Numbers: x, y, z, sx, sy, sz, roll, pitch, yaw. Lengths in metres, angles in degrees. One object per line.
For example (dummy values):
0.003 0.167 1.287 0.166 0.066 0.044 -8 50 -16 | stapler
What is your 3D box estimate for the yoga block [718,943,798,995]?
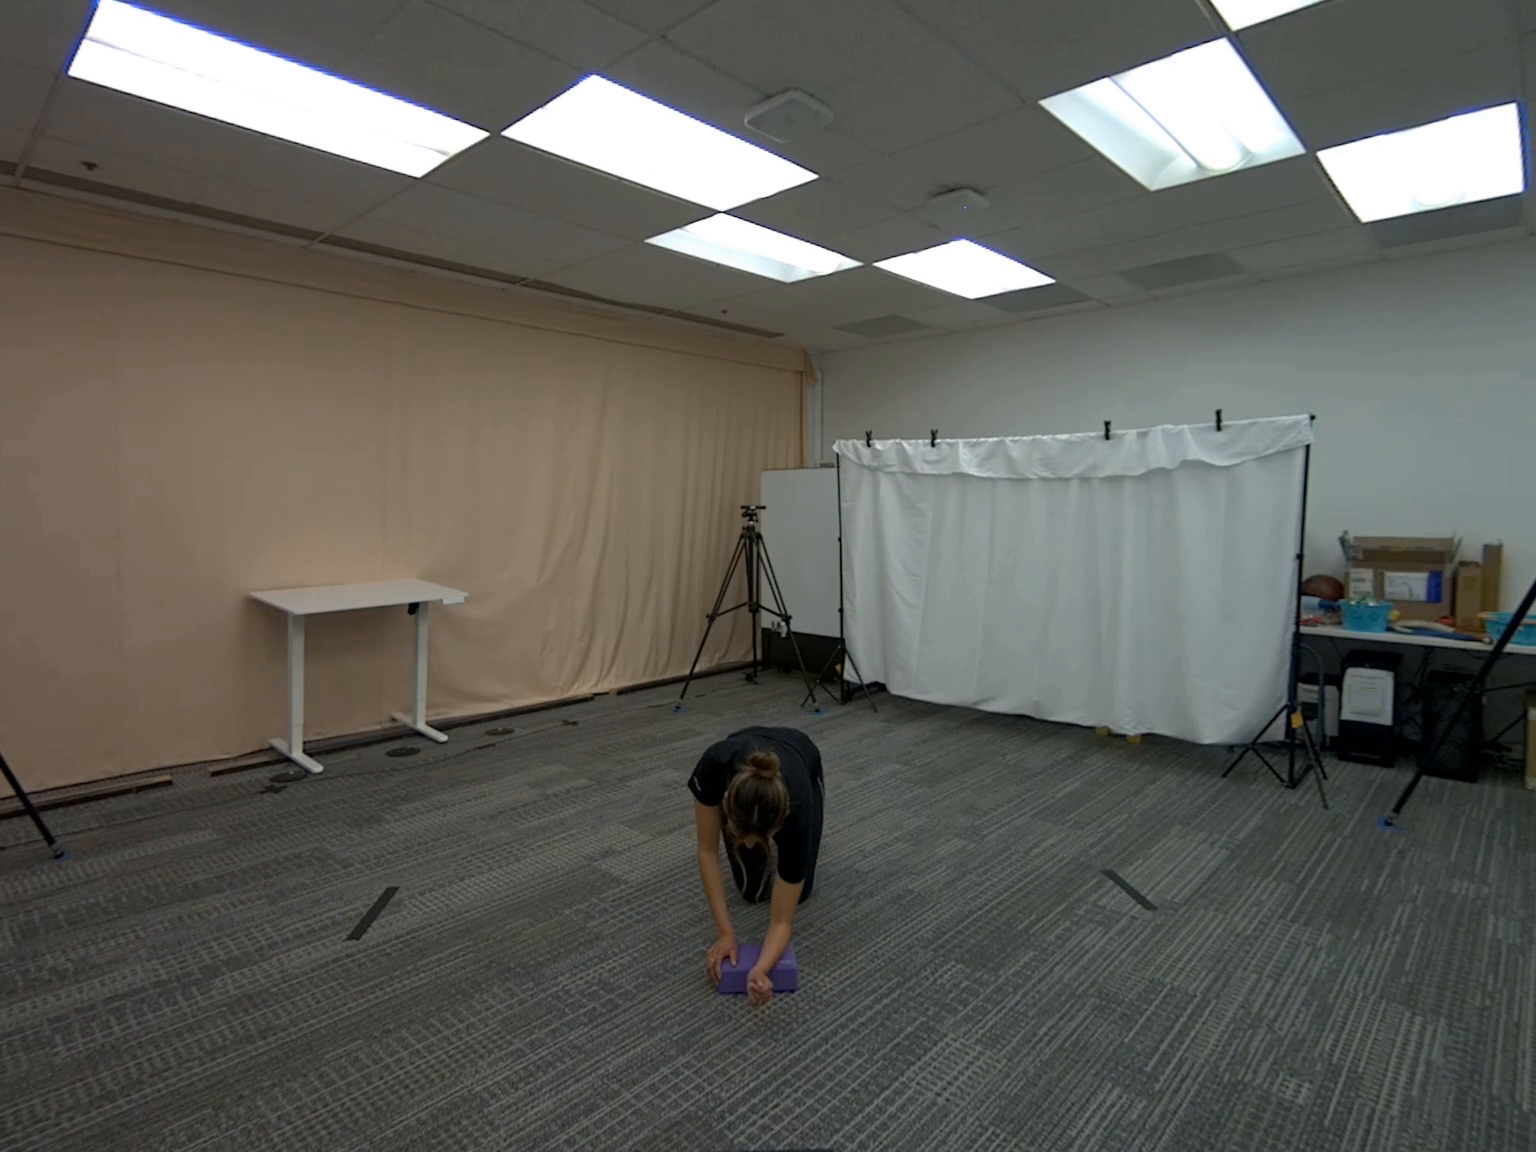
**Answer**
-0.032 1.139 2.472 0.229 0.076 0.150 -1 6 -2 | yoga block
